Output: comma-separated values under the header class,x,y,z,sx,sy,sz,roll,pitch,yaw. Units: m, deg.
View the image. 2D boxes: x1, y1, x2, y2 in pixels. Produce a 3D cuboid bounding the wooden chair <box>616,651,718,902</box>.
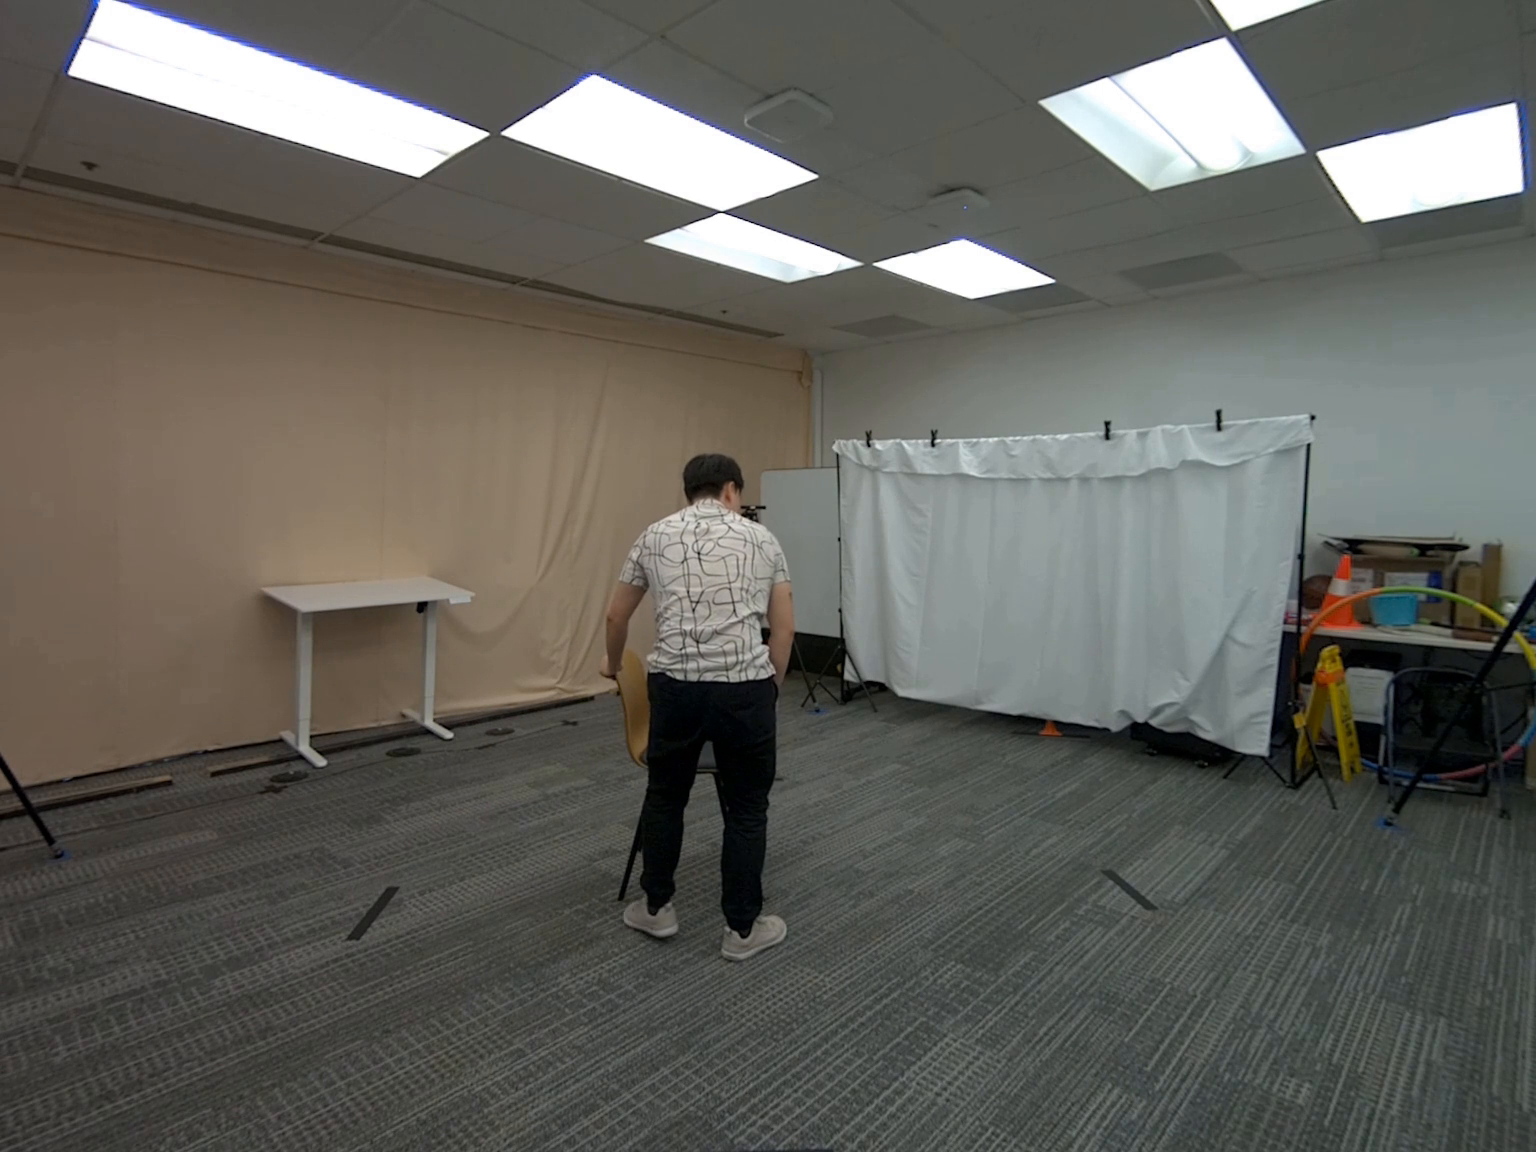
class,x,y,z,sx,sy,sz,roll,pitch,yaw
wooden chair,-0.303,0.705,3.153,0.524,0.877,0.478,-4,1,1
